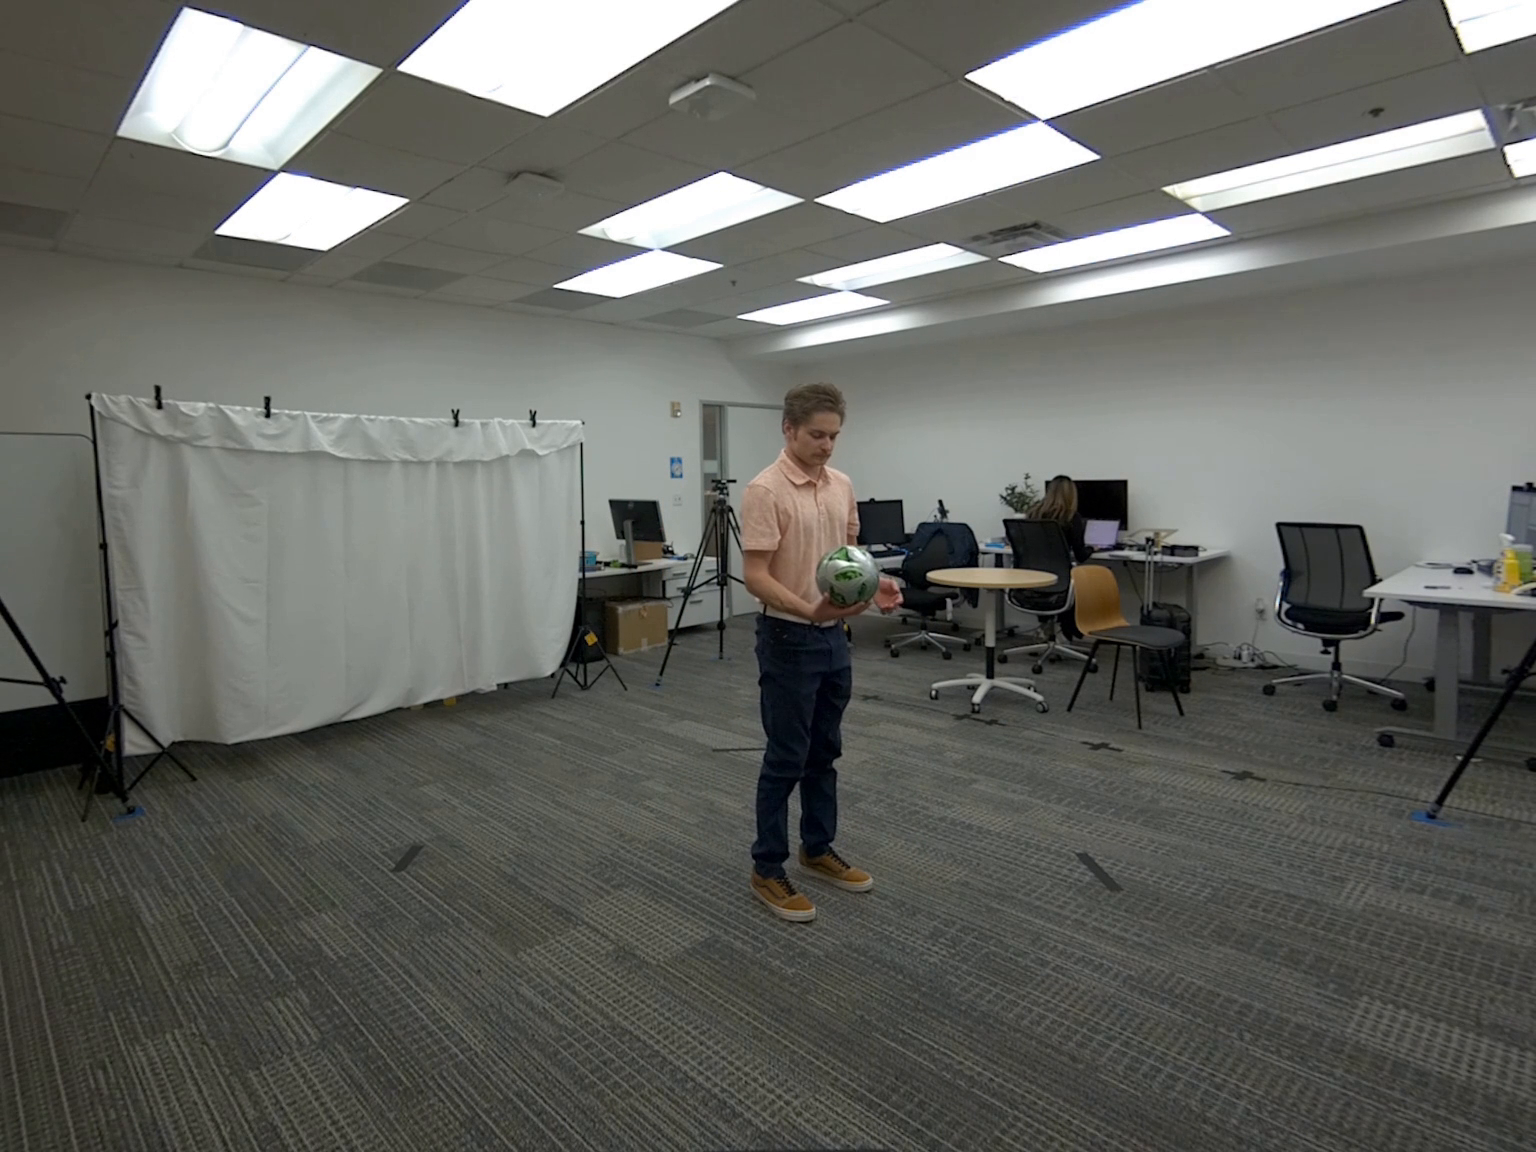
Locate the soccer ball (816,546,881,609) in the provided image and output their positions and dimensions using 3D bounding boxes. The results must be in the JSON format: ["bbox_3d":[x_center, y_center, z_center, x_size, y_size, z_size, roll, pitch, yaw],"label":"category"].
[{"bbox_3d":[0.236,0.014,2.509,0.187,0.187,0.188,-1,5,-2],"label":"soccer ball"}]
